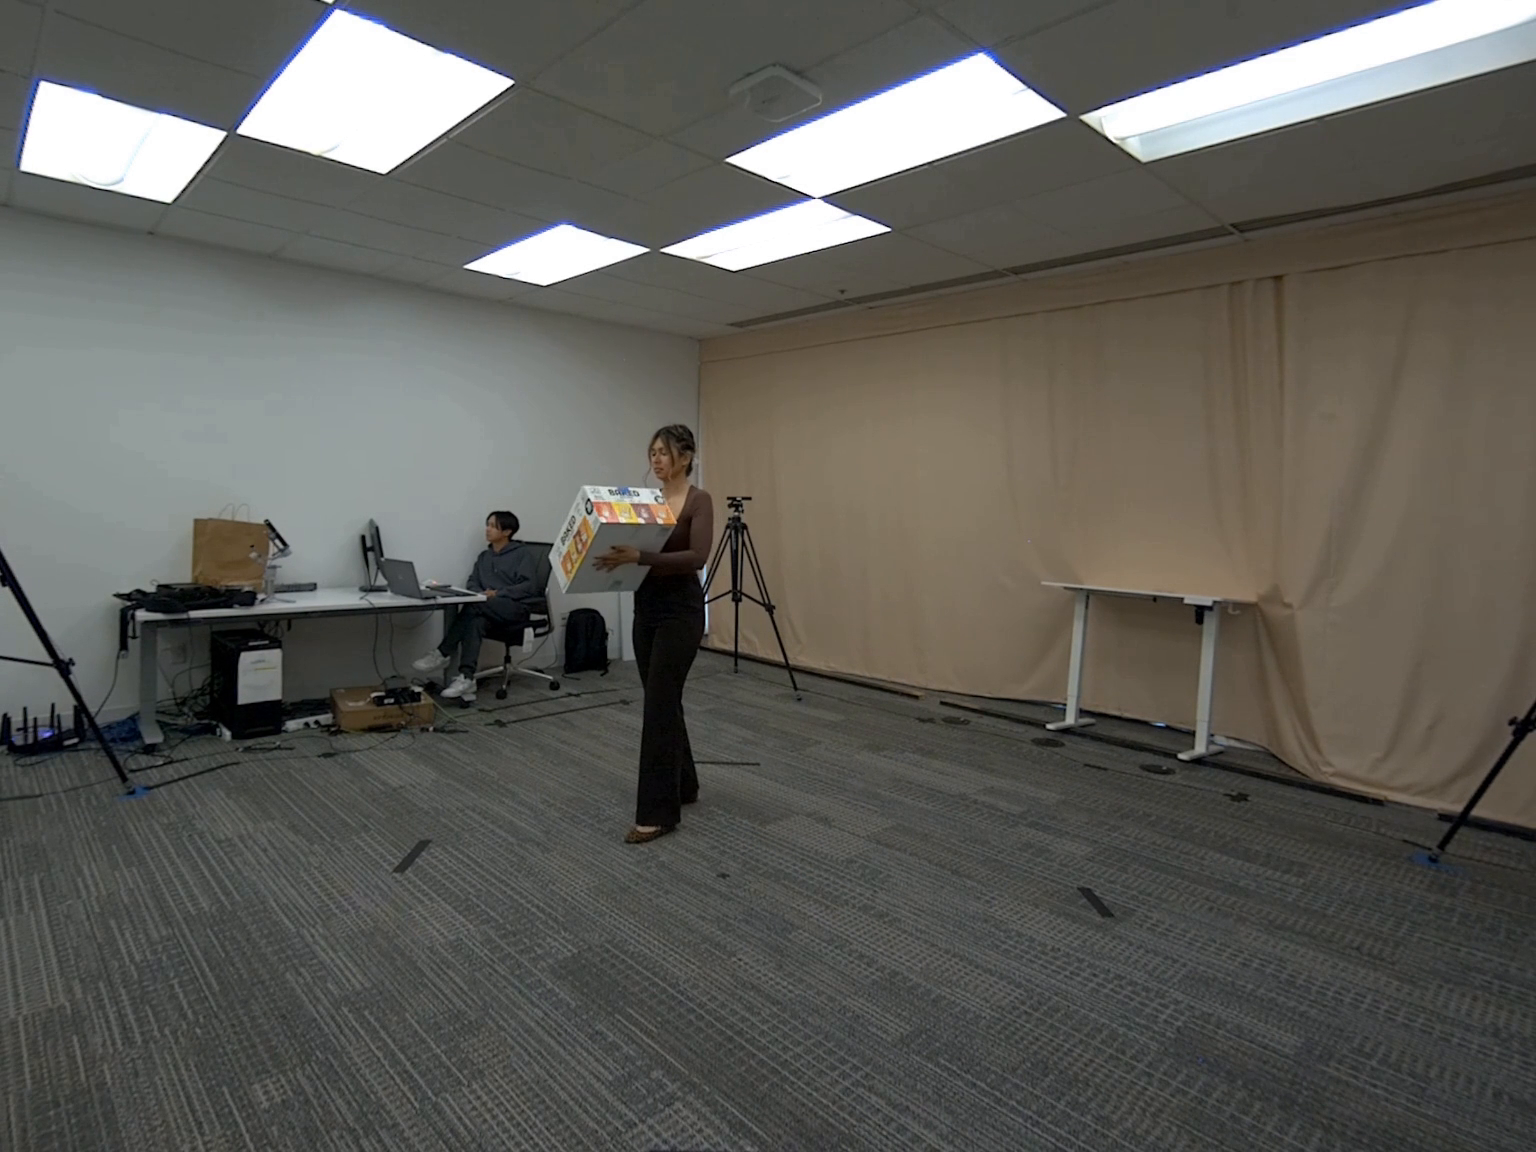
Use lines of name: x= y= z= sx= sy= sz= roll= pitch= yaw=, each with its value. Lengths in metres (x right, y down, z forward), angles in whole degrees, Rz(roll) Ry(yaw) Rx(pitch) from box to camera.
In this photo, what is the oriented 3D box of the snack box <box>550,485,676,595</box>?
snack box: x=-0.637 y=-0.143 z=3.344 sx=0.332 sy=0.211 sz=0.403 roll=1 pitch=-42 yaw=-39
